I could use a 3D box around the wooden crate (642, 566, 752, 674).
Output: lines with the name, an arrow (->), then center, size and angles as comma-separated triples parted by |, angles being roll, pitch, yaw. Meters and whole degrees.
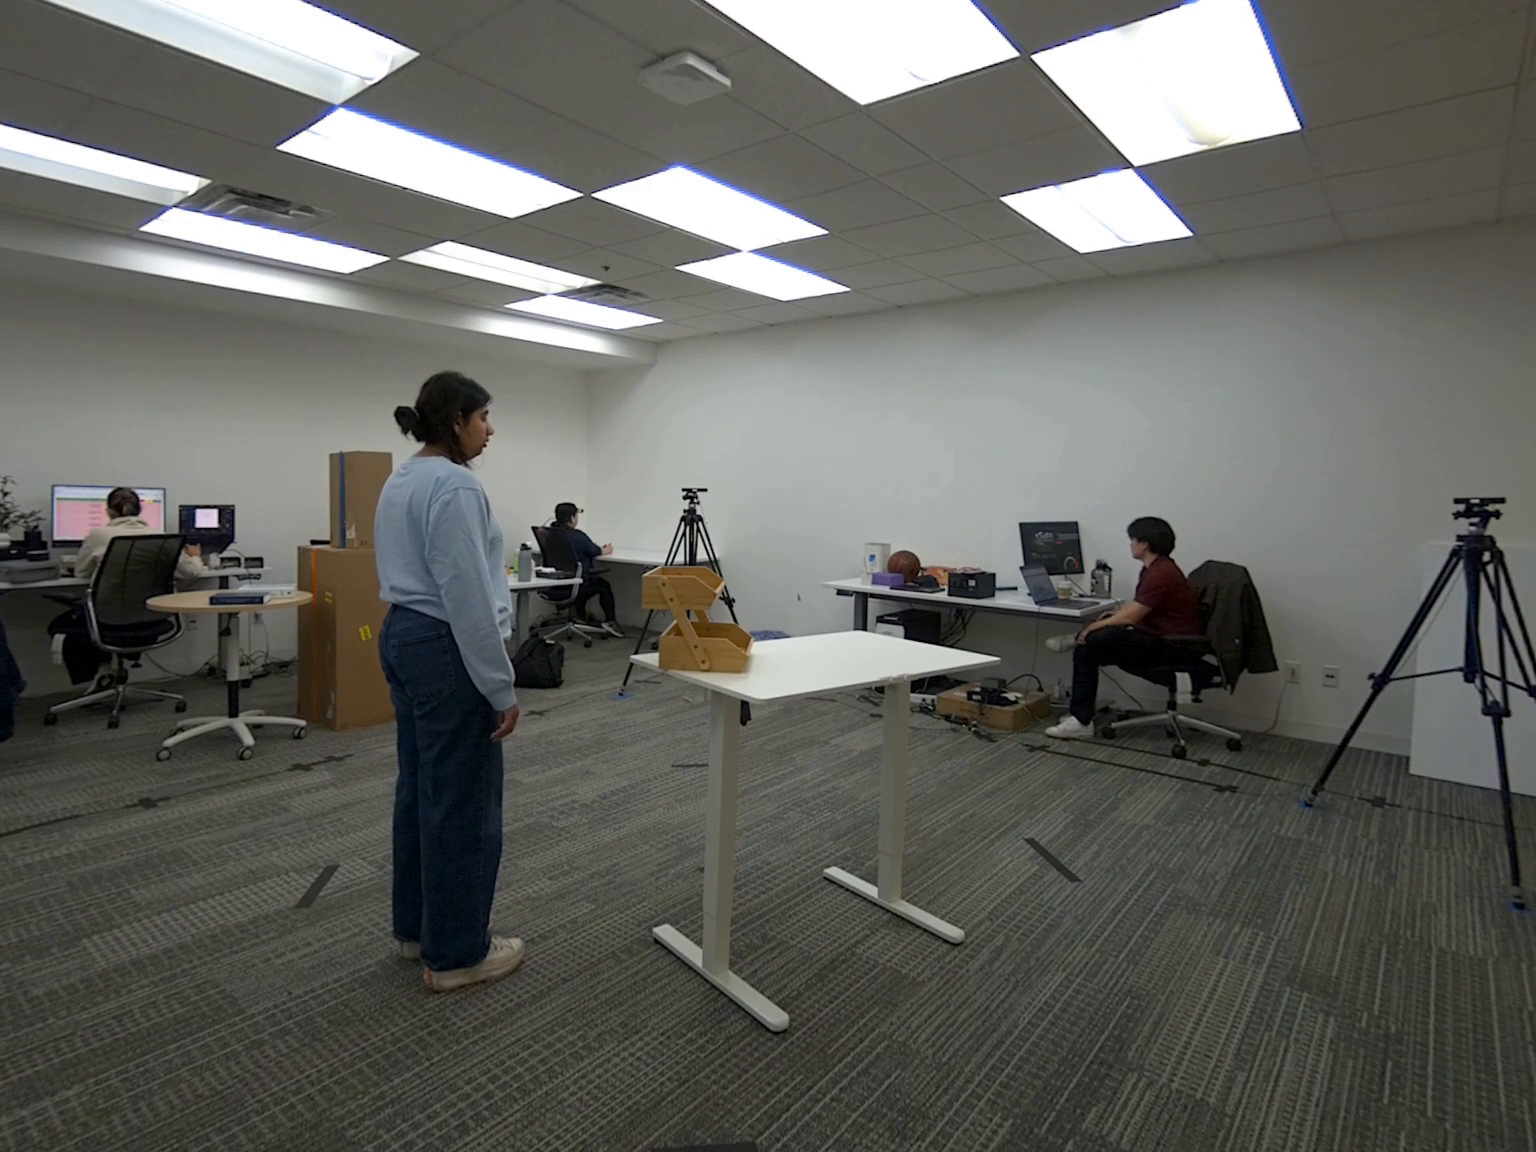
wooden crate -> -0.194, 0.117, 2.480 | 0.303, 0.272, 0.325 | 1, 6, 1
